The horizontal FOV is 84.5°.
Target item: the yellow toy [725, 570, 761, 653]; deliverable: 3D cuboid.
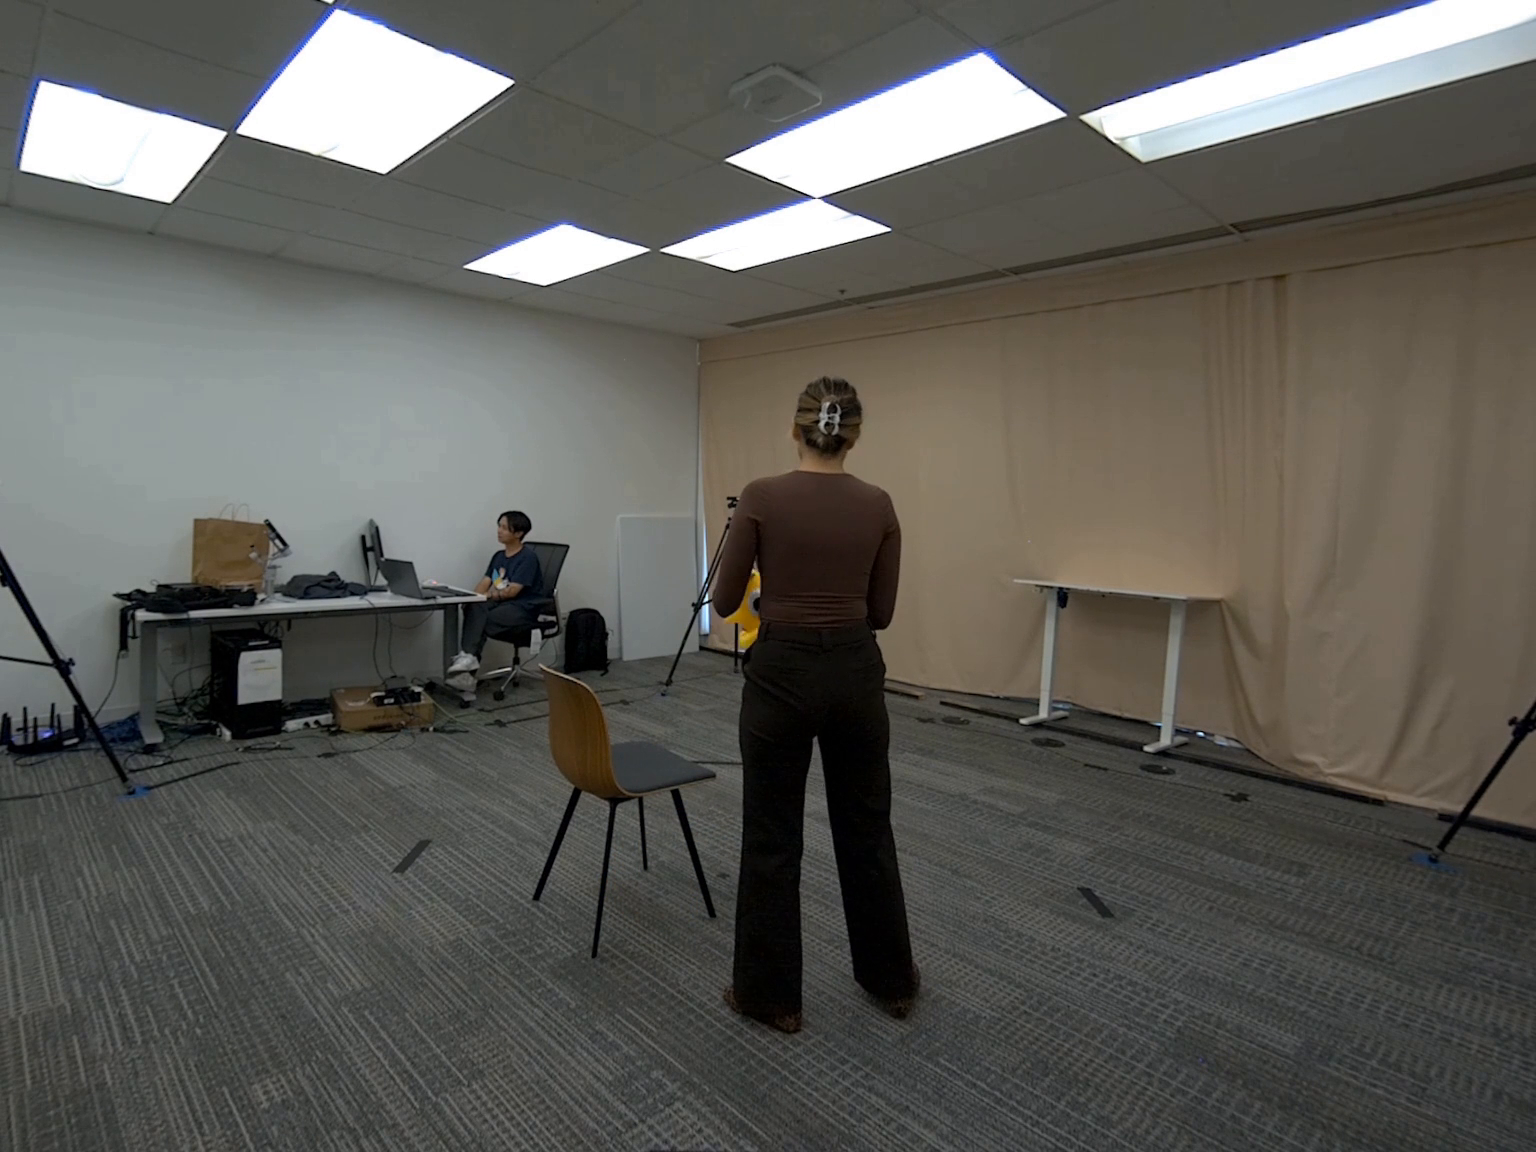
[{"bbox_3d":[-0.006,0.085,2.558,0.196,0.228,0.203,4,15,21],"label":"yellow toy"}]
